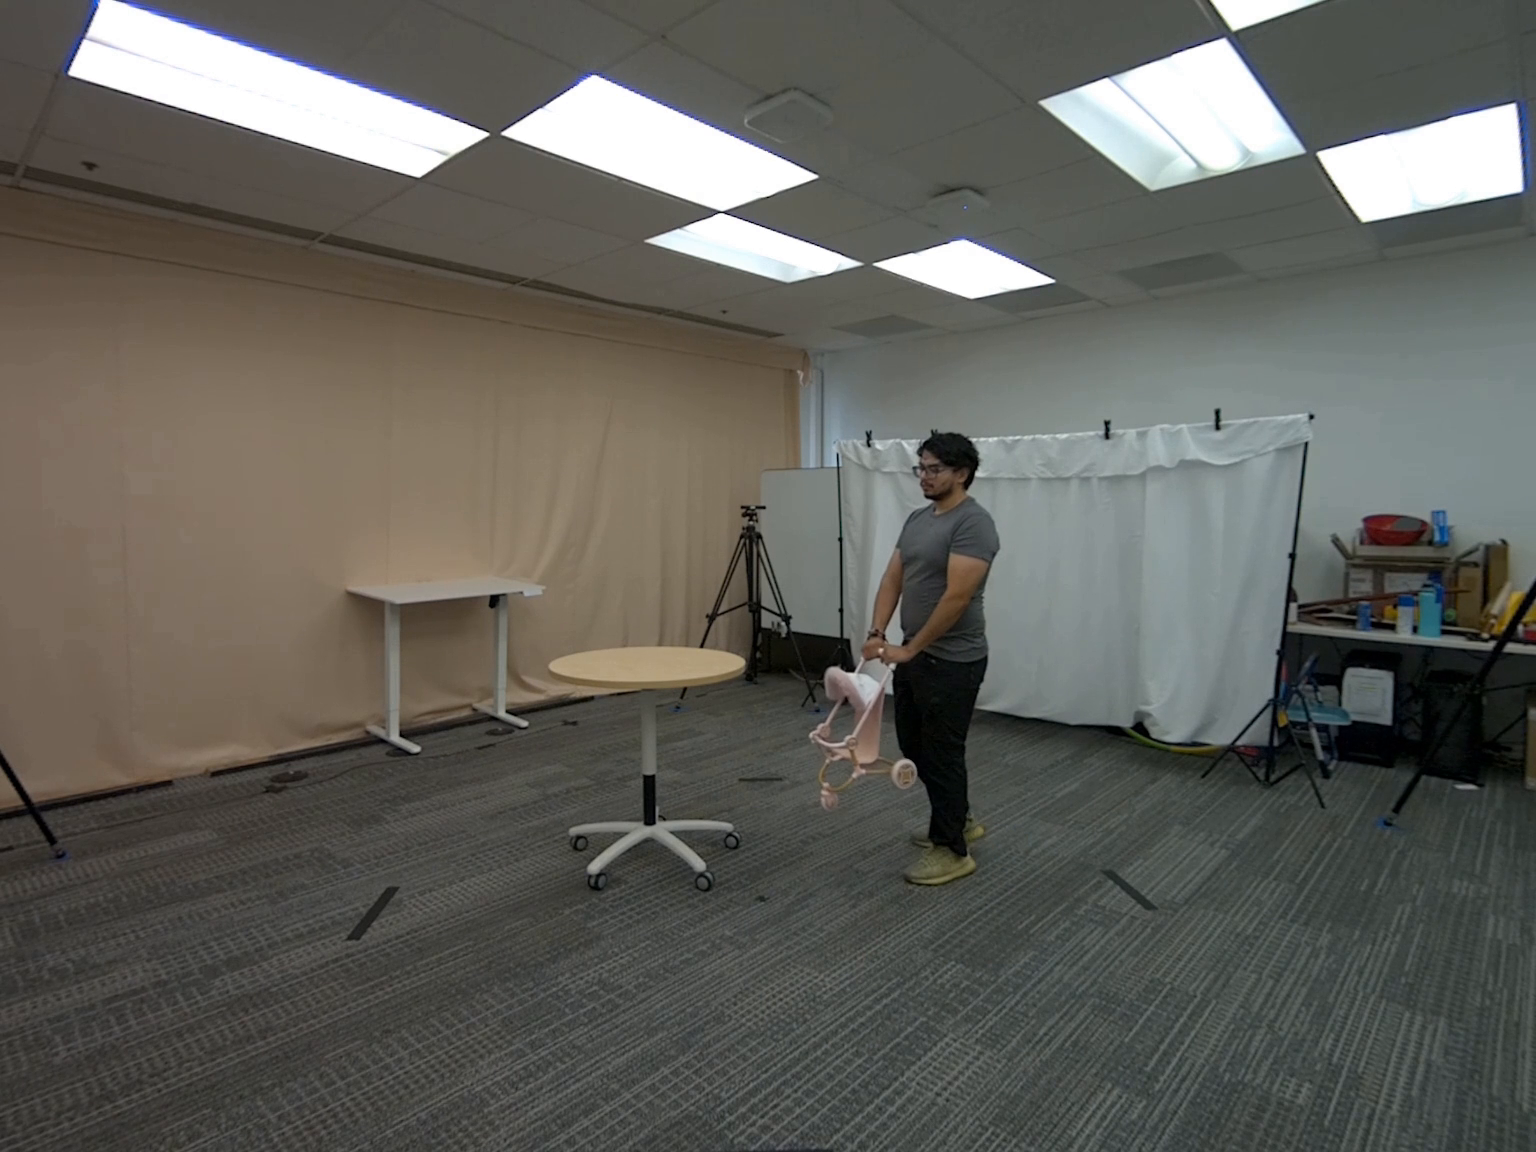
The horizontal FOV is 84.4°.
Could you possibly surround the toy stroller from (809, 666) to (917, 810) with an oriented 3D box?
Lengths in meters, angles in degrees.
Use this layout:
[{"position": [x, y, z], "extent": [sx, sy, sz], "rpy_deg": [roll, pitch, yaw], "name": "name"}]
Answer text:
[{"position": [0.317, 0.561, 3.046], "extent": [0.335, 0.533, 0.287], "rpy_deg": [-9, 6, -19], "name": "toy stroller"}]
